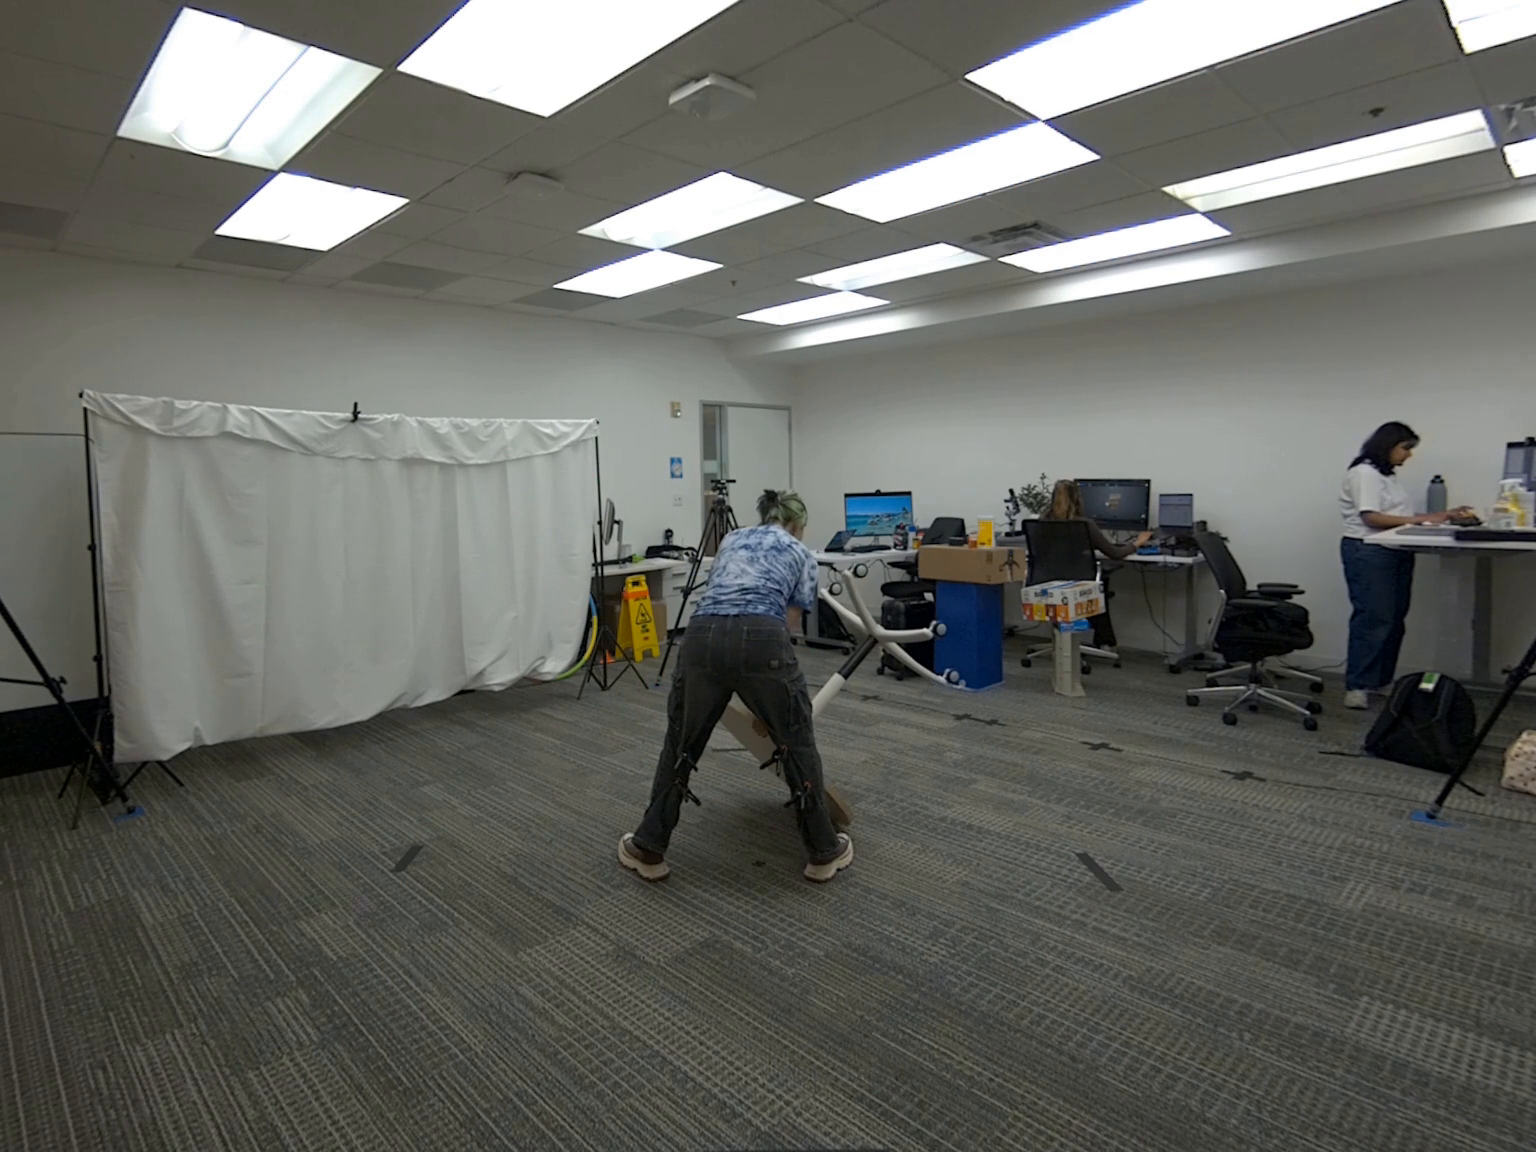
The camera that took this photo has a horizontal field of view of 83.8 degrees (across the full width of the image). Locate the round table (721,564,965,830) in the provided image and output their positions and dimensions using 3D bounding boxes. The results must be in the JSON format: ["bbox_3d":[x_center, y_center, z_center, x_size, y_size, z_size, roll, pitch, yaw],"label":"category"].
[{"bbox_3d":[0.282,0.449,3.523,0.794,0.745,0.783,-47,22,-16],"label":"round table"}]
